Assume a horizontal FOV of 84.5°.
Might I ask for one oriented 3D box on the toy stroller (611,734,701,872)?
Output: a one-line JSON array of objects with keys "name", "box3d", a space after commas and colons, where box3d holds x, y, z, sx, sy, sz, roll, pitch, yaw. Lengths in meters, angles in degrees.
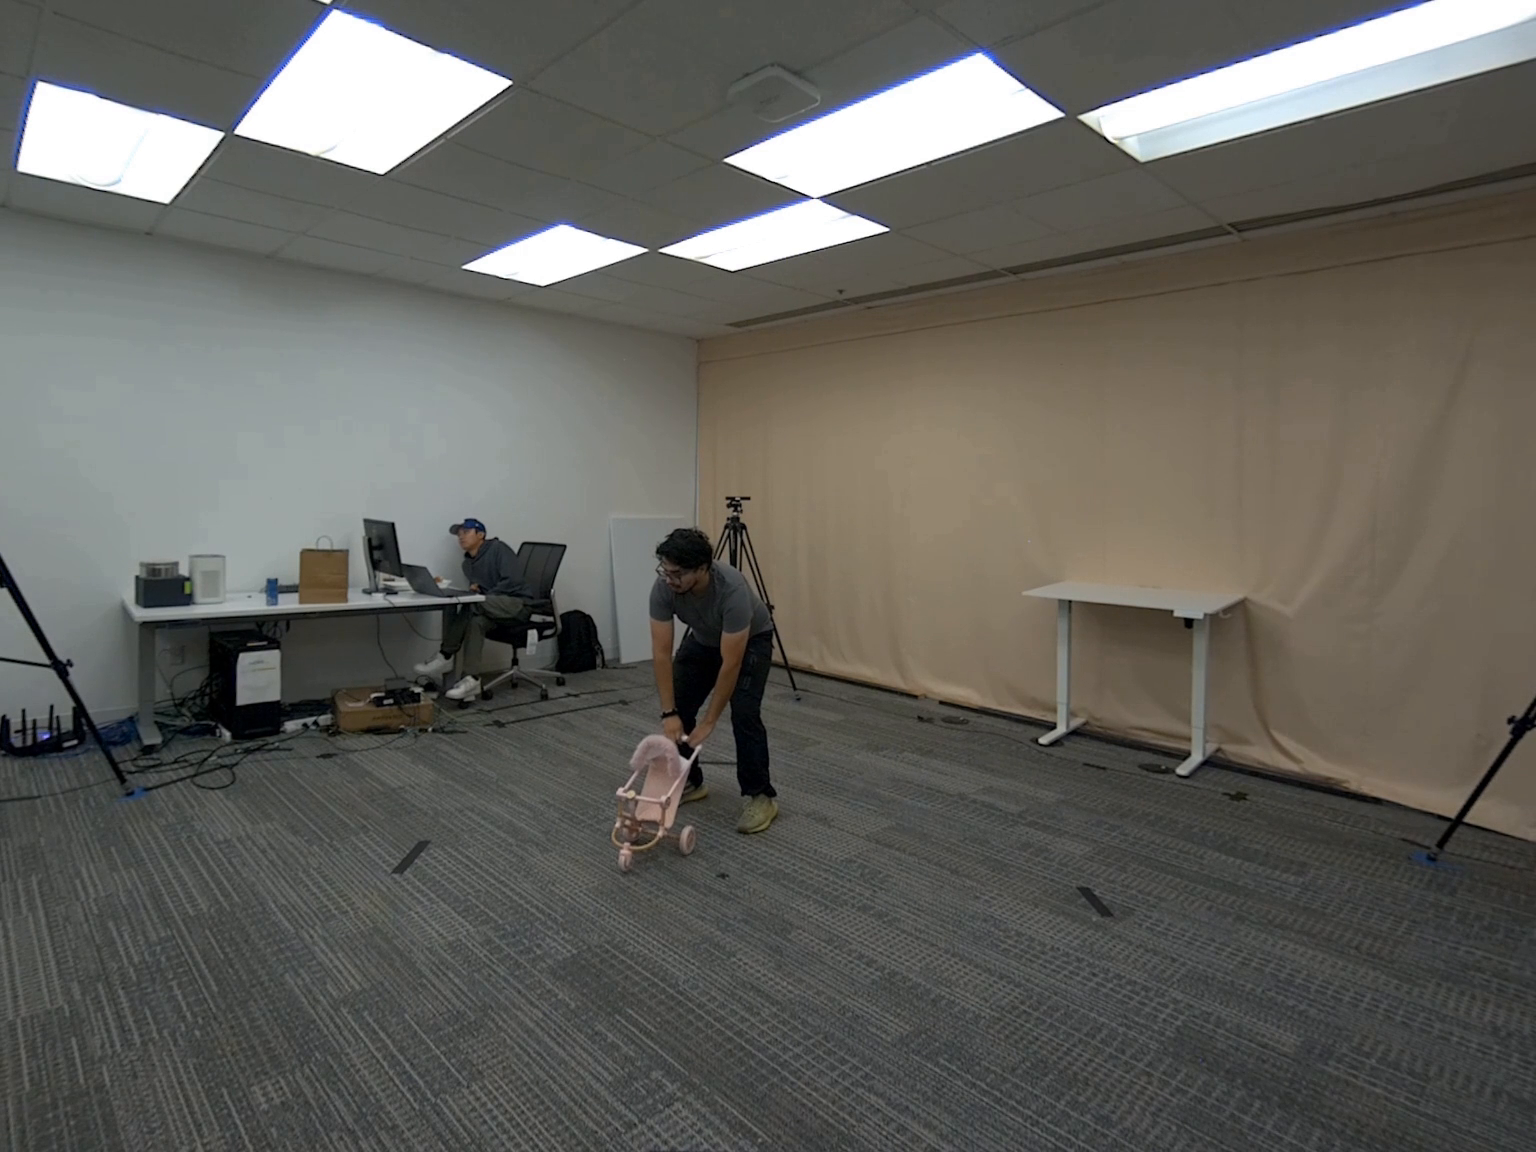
[{"name": "toy stroller", "box3d": [-0.463, 0.864, 3.281, 0.287, 0.540, 0.331, 2, -17, 27]}]
